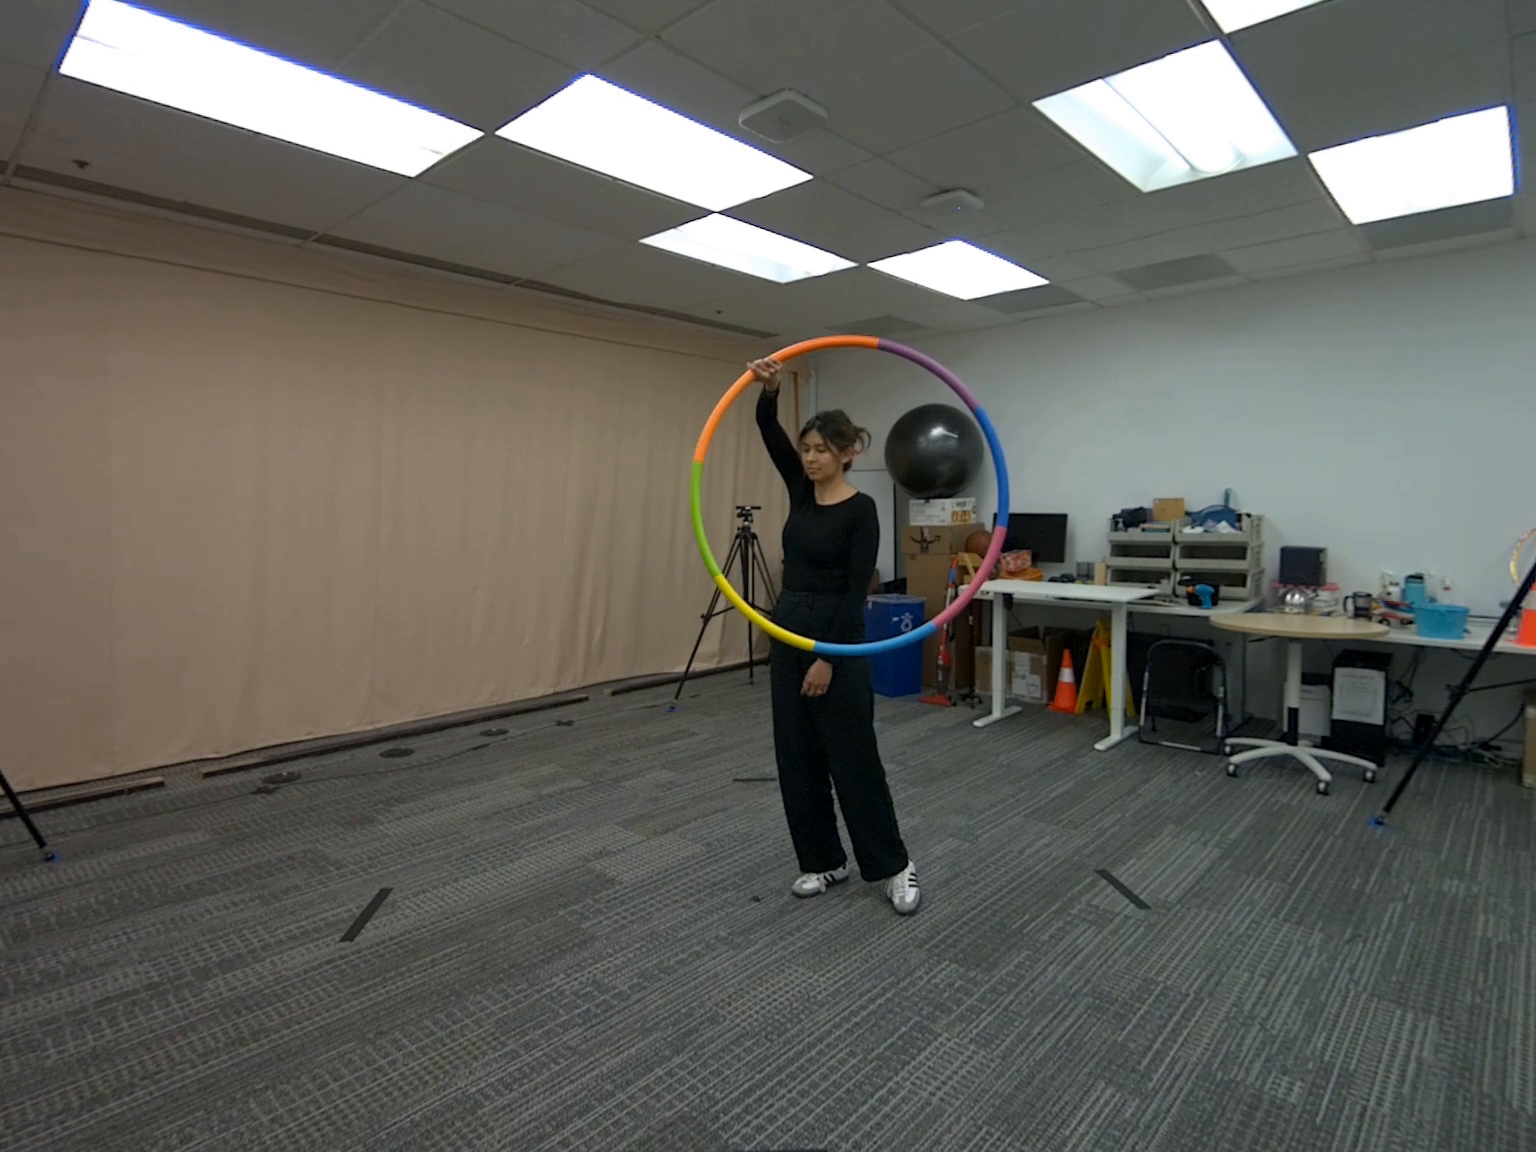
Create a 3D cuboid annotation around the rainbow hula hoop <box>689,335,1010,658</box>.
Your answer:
[{"bbox_3d":[0.259,-0.254,2.593,0.992,0.987,0.051,0,-4,6],"label":"rainbow hula hoop"}]
